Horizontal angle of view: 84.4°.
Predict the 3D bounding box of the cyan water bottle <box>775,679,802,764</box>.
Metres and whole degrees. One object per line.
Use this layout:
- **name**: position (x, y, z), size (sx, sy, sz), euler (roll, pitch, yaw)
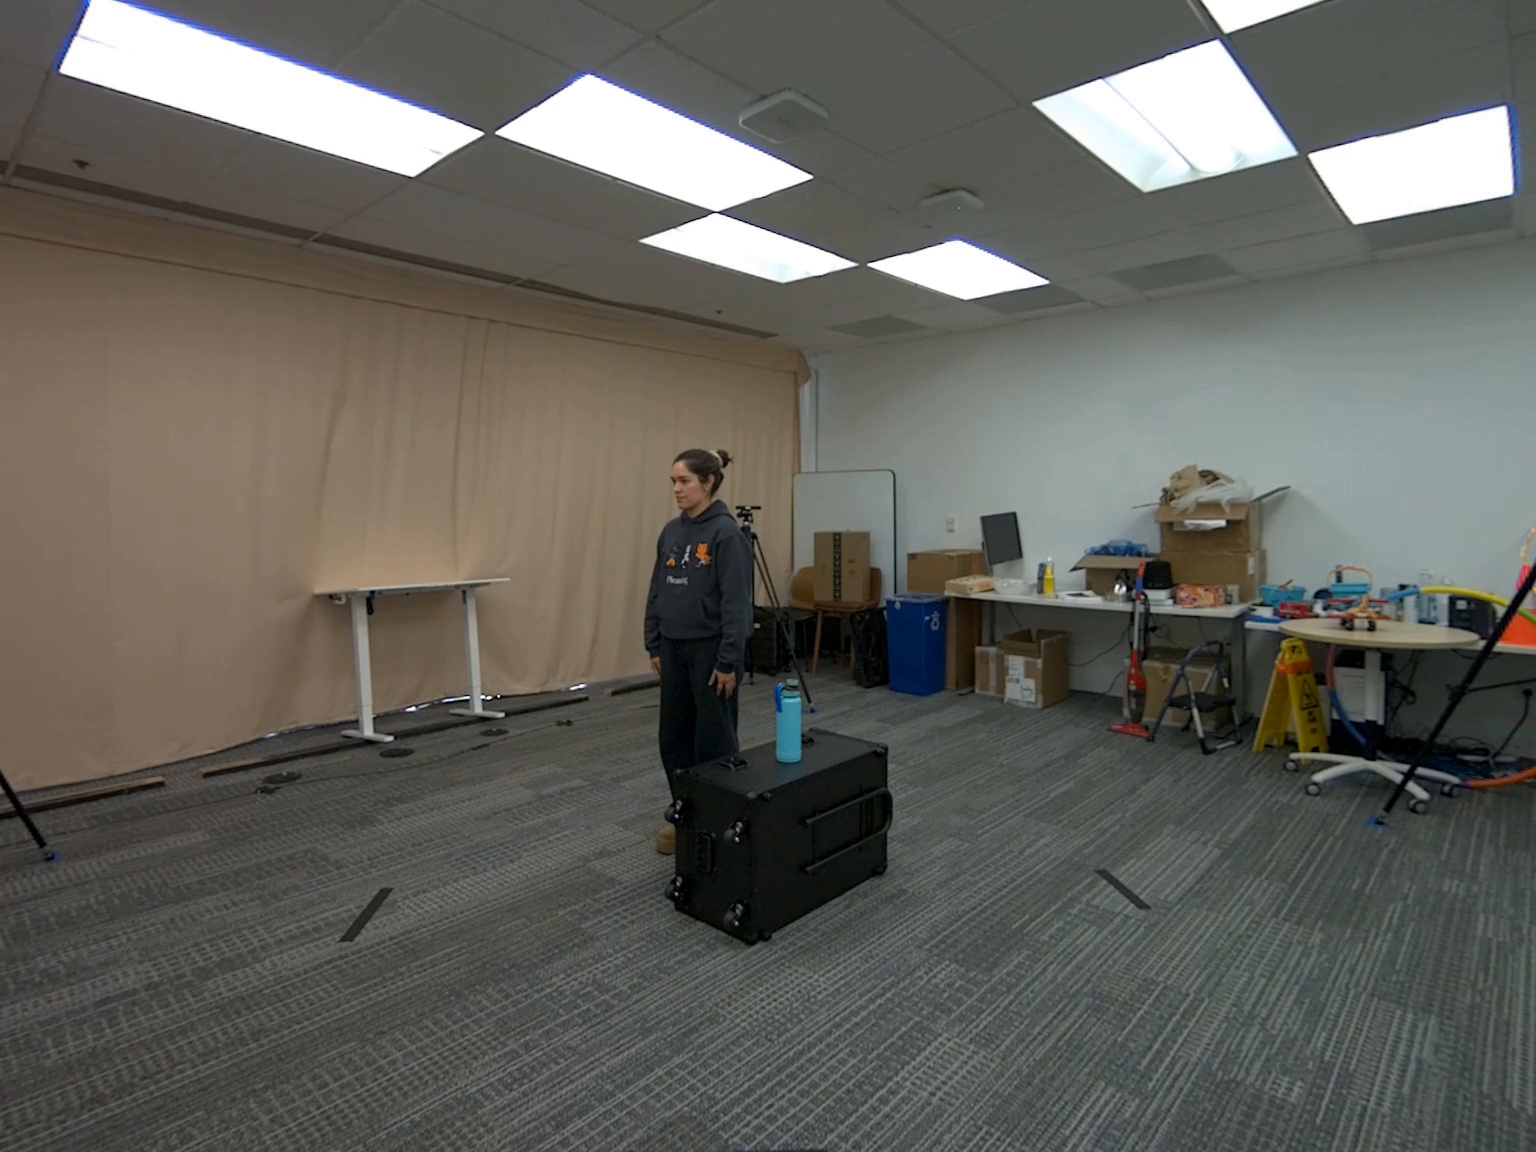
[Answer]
- **cyan water bottle**: position (0.091, 0.513, 3.018), size (0.092, 0.283, 0.092), euler (-2, 3, -2)
